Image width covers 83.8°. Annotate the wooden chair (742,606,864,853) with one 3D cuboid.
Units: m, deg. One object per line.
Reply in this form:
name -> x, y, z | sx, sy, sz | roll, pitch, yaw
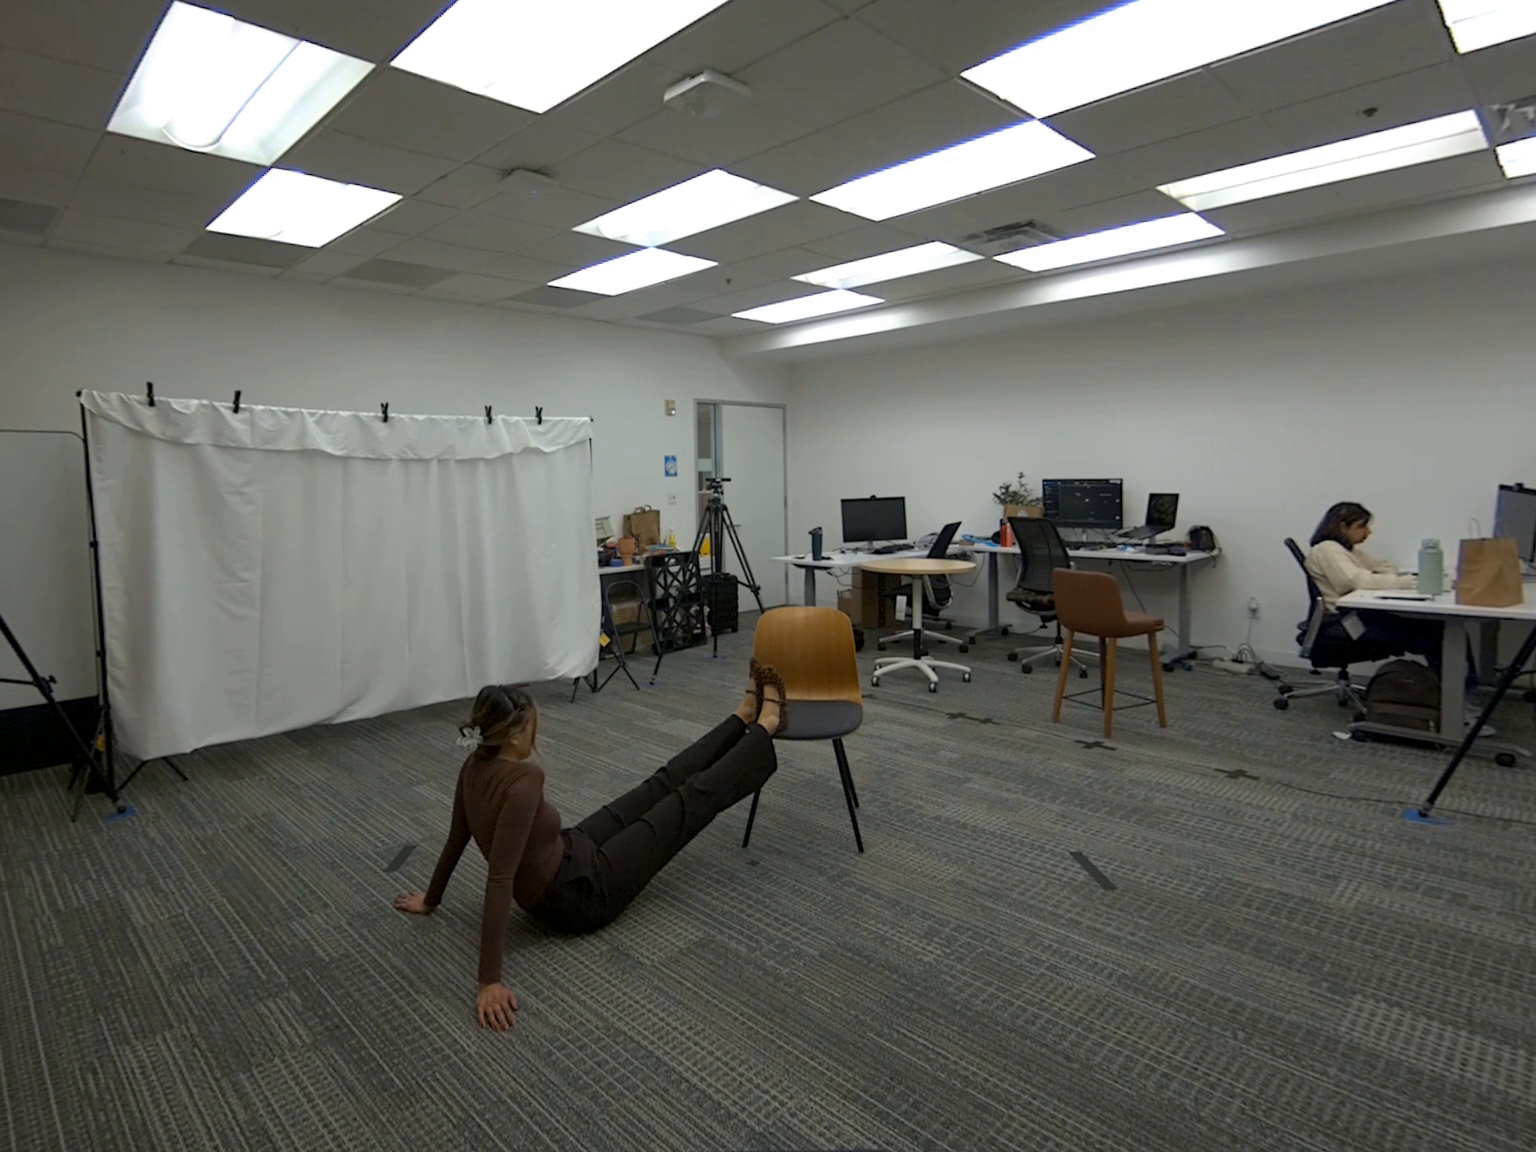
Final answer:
wooden chair -> 0.140, 0.579, 3.388 | 0.481, 0.878, 0.519 | 0, 0, 6
